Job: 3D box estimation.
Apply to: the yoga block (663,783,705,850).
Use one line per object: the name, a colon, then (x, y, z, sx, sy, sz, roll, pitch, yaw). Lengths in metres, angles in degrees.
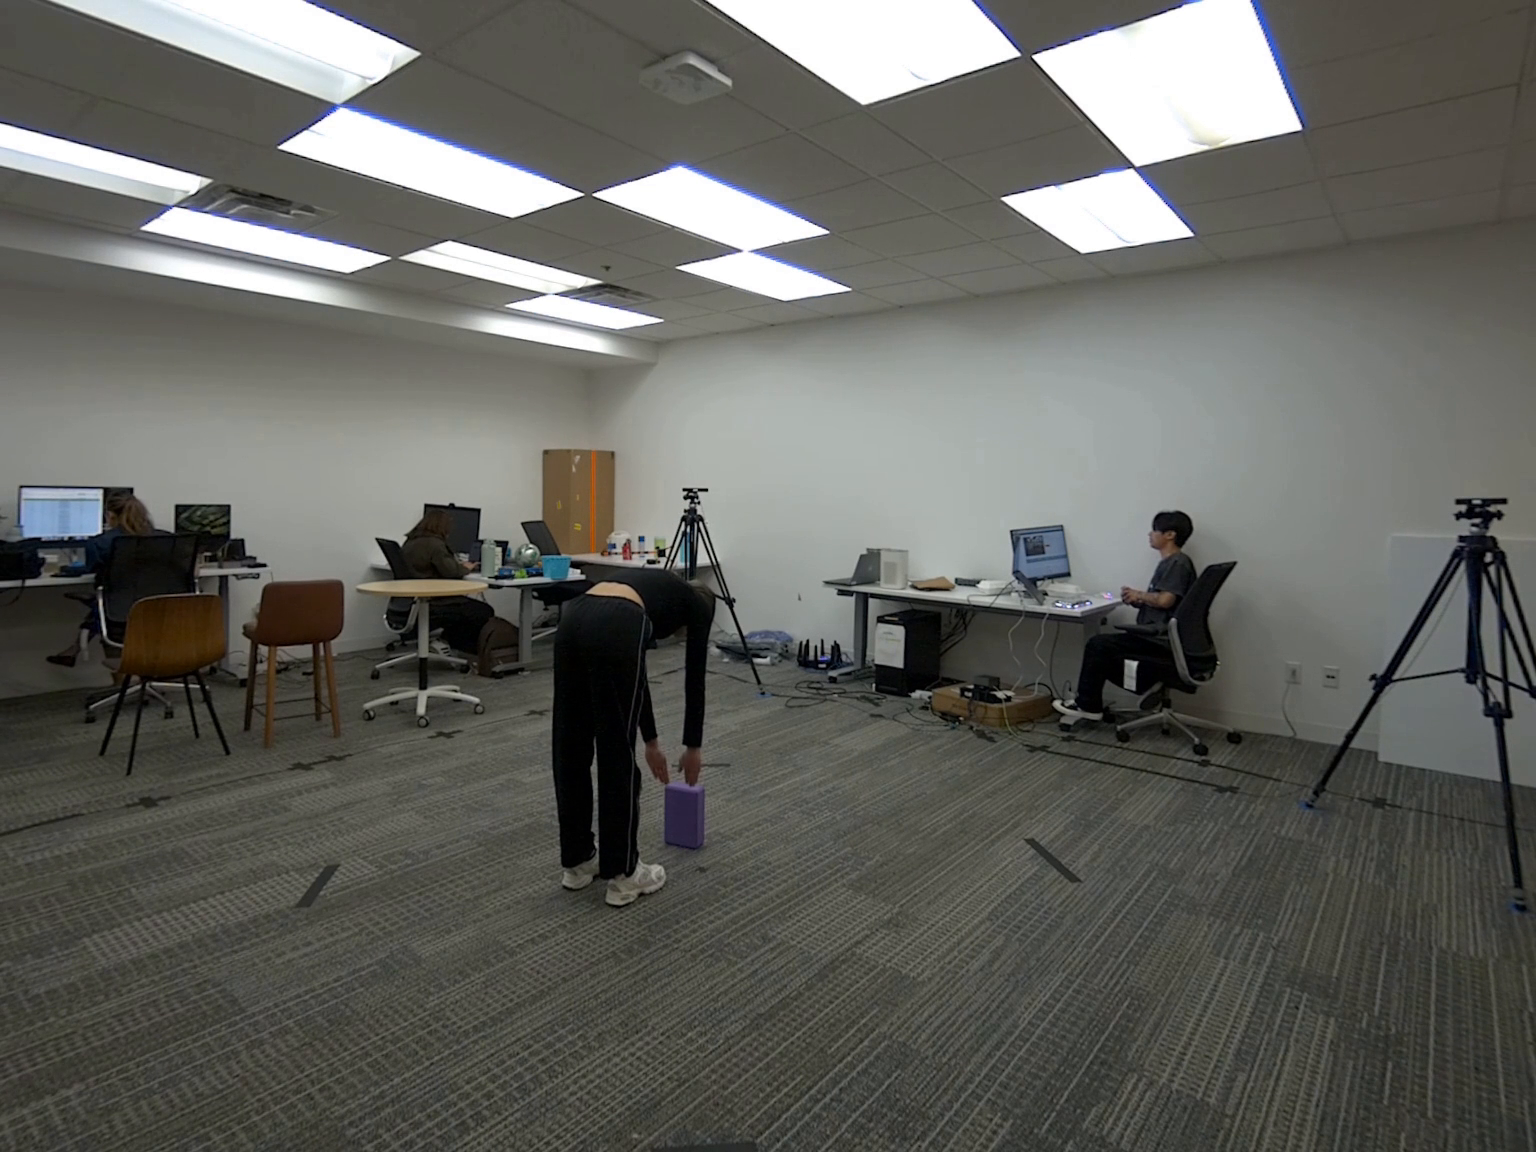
yoga block: (-0.340, 0.930, 3.330, 0.152, 0.229, 0.075, 1, 3, 24)
